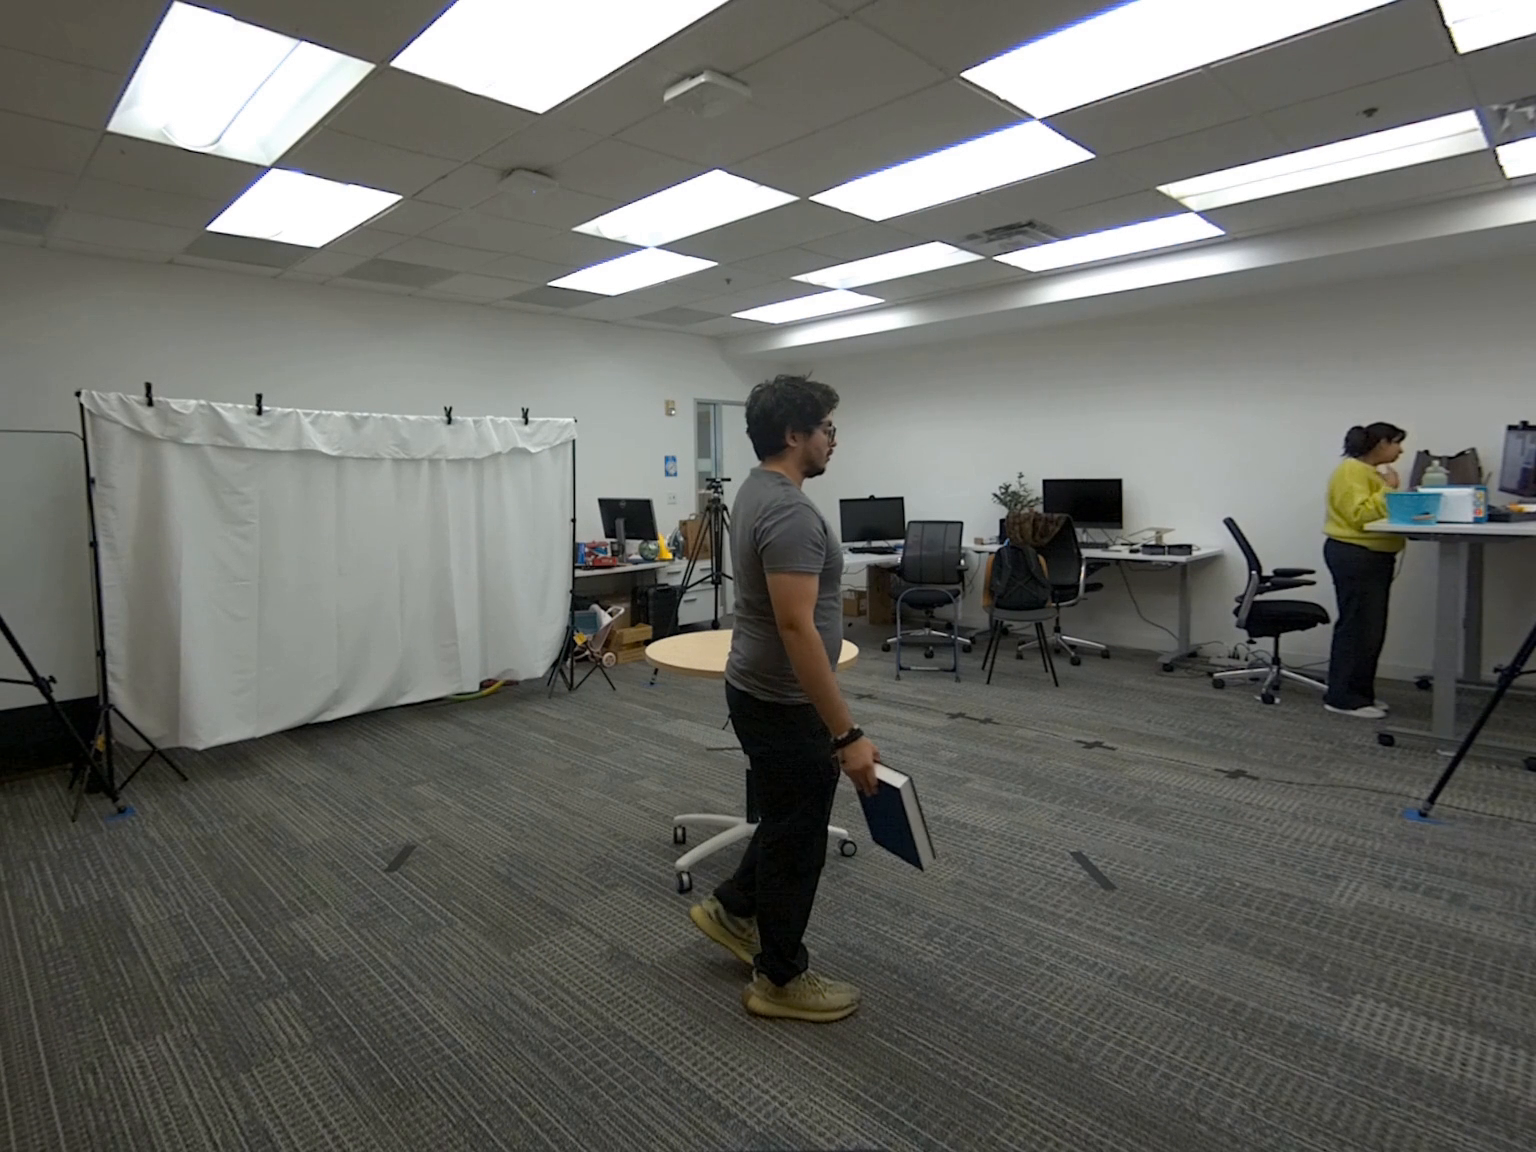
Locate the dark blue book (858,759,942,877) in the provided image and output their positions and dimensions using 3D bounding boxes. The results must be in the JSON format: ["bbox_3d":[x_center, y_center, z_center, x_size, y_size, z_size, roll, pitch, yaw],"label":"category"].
[{"bbox_3d":[0.287,0.536,1.936,0.045,0.239,0.169,-30,25,-31],"label":"dark blue book"}]
